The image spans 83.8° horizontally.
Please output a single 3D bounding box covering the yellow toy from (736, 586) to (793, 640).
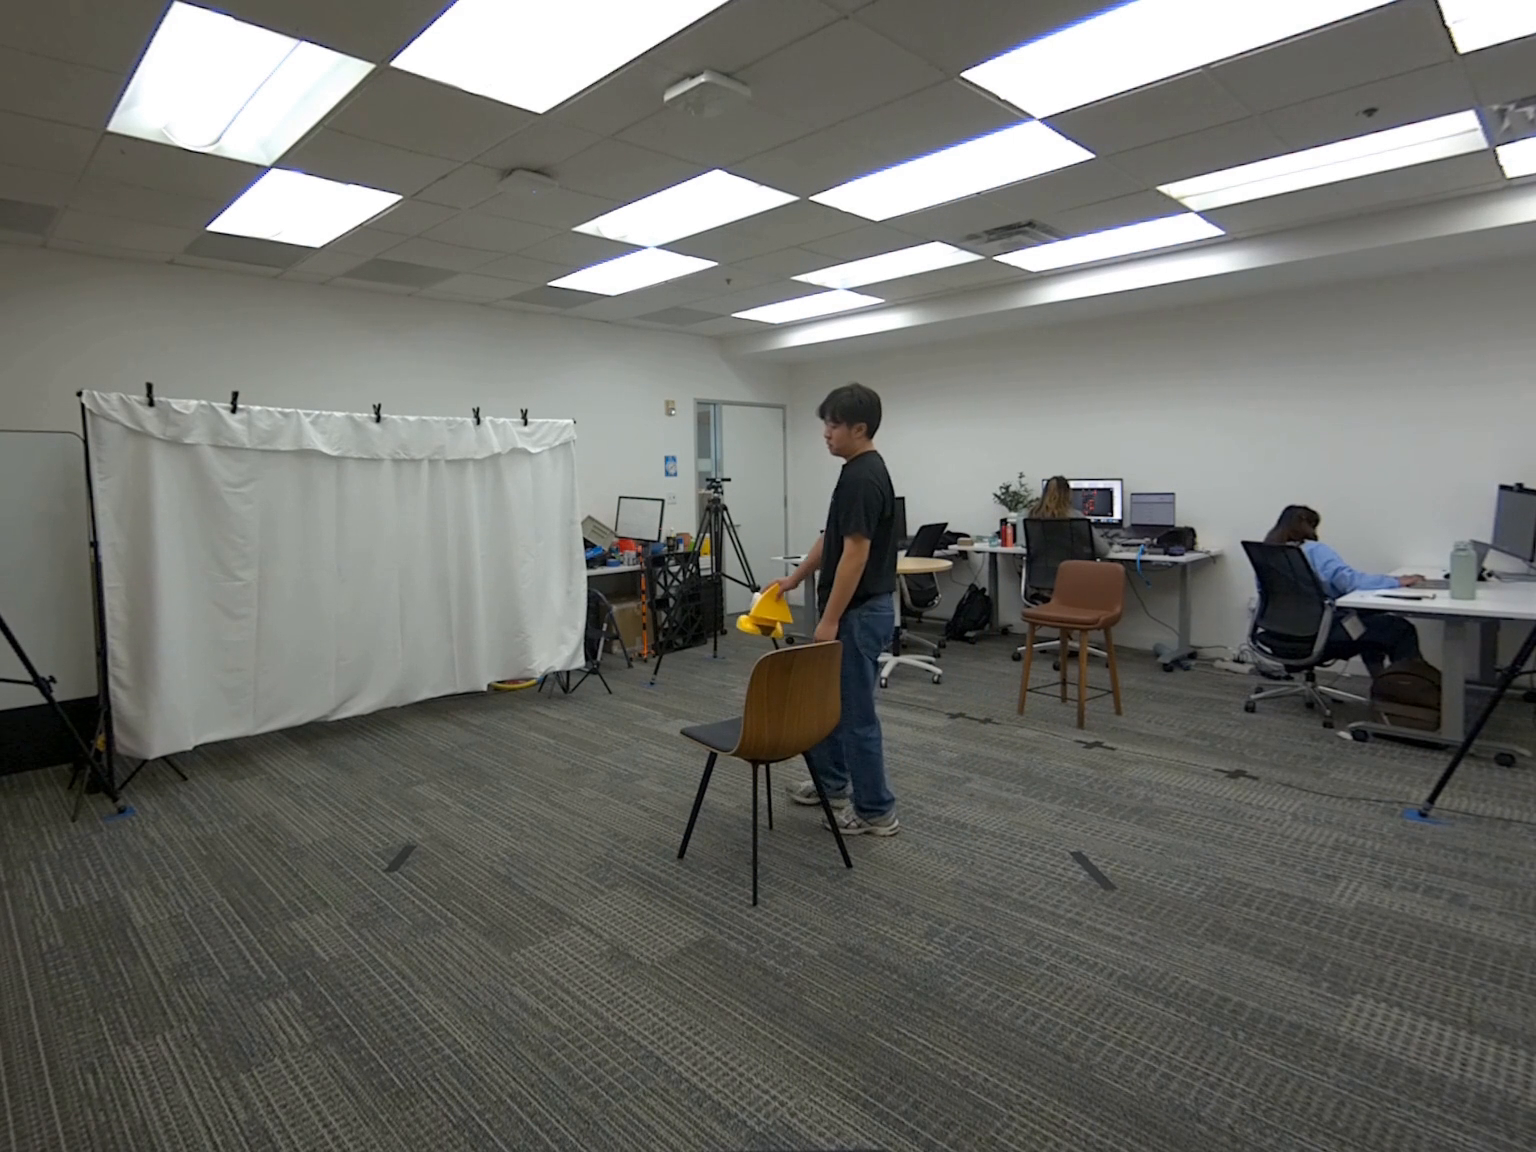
[{"bbox_3d":[-0.006,0.133,3.683,0.200,0.230,0.198,10,6,-24],"label":"yellow toy"}]
